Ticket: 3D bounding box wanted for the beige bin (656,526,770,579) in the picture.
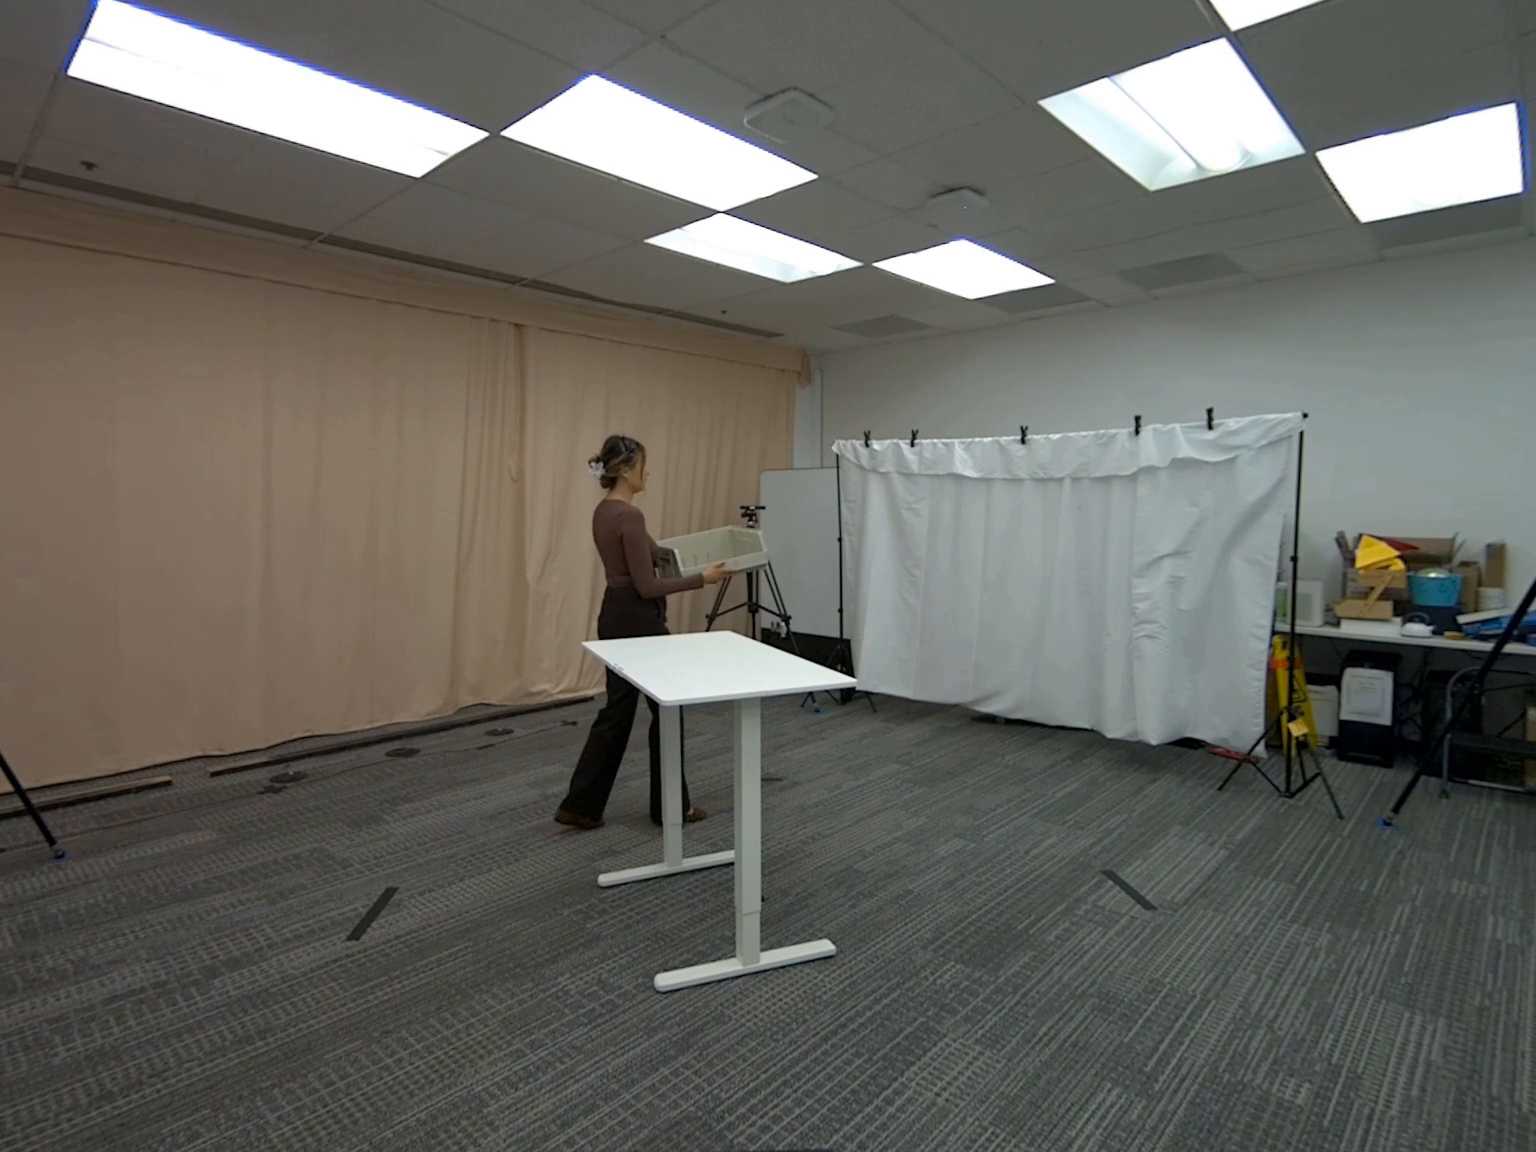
[{"bbox_3d":[-0.263,-0.084,3.762,0.414,0.187,0.387,-14,11,-24],"label":"beige bin"}]
